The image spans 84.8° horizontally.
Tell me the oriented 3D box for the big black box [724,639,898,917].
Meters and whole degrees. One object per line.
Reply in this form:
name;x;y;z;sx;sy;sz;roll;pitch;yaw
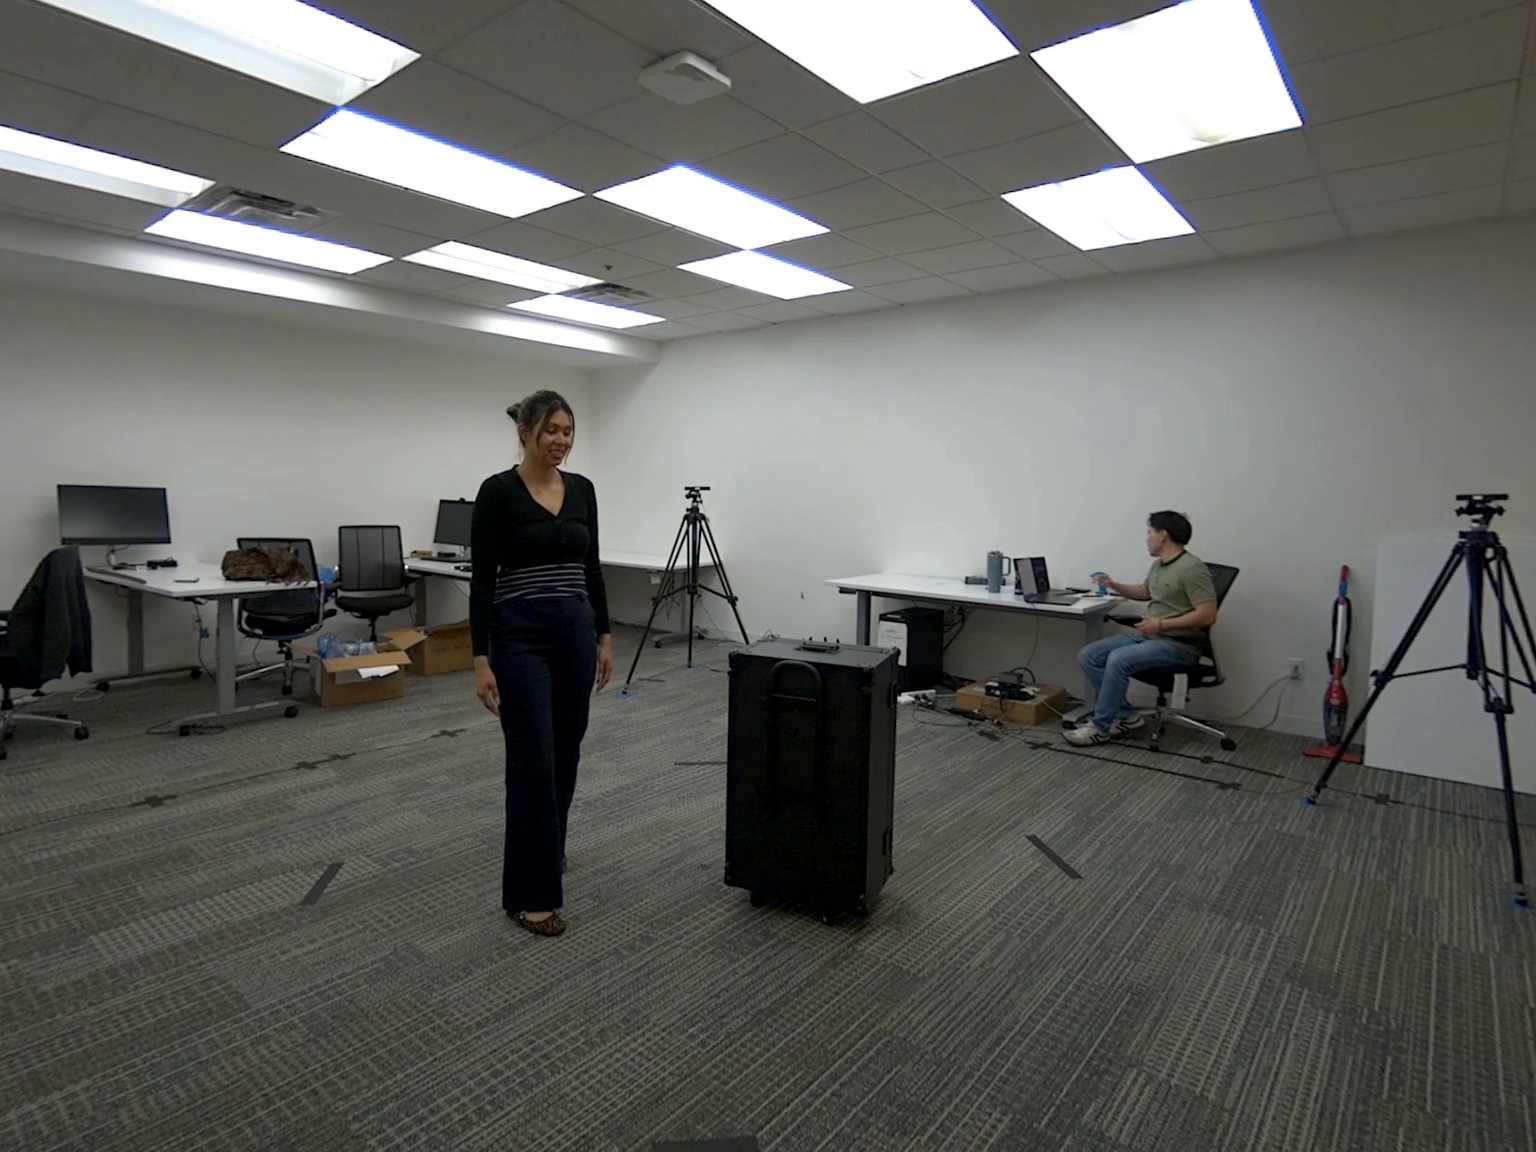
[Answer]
big black box;0.145;0.675;2.852;0.535;0.858;0.388;3;5;24
